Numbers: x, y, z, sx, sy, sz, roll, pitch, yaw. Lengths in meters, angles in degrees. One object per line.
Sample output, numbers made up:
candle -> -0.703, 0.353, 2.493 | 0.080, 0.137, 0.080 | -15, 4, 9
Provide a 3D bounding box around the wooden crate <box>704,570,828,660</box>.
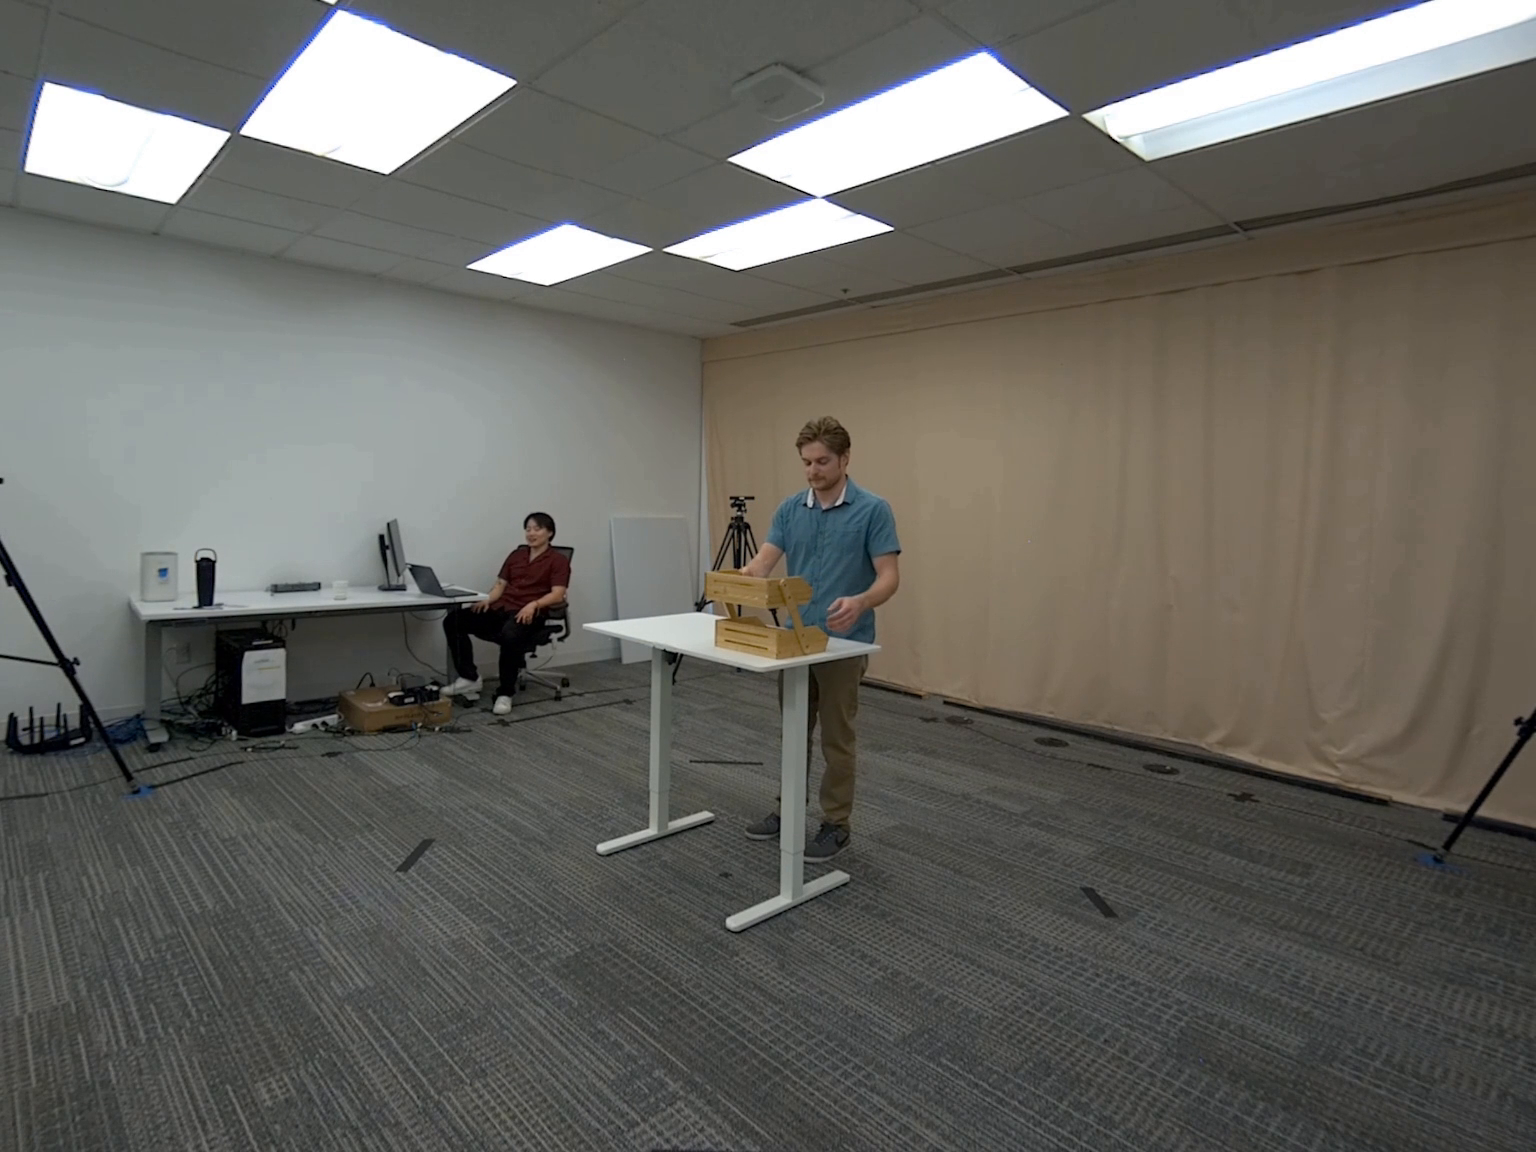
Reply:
wooden crate -> -0.011, 0.118, 2.838 | 0.333, 0.272, 0.295 | 5, 7, 45
